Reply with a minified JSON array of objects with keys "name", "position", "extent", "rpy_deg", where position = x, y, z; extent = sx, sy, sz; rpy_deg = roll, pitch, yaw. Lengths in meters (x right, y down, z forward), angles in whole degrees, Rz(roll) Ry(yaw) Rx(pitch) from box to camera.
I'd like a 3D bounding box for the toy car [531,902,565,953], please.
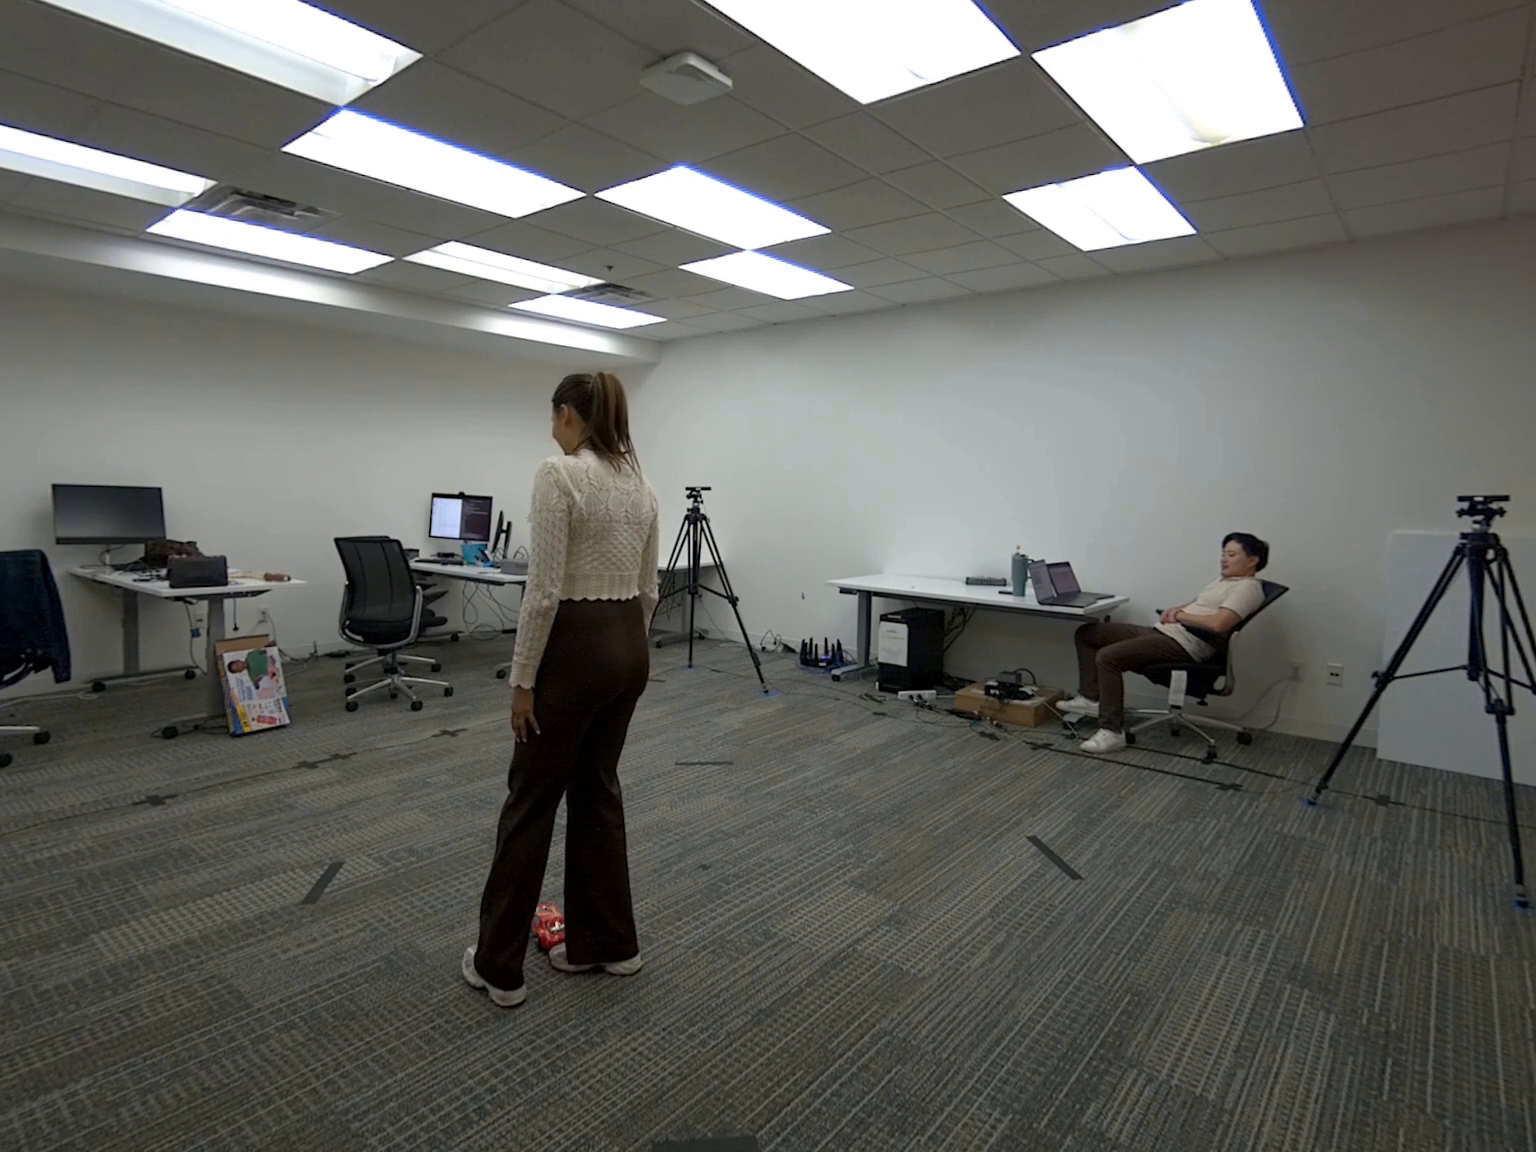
[{"name":"toy car","position":[-0.678,1.078,2.606],"extent":[0.127,0.083,0.259],"rpy_deg":[-5,-4,-30]}]
